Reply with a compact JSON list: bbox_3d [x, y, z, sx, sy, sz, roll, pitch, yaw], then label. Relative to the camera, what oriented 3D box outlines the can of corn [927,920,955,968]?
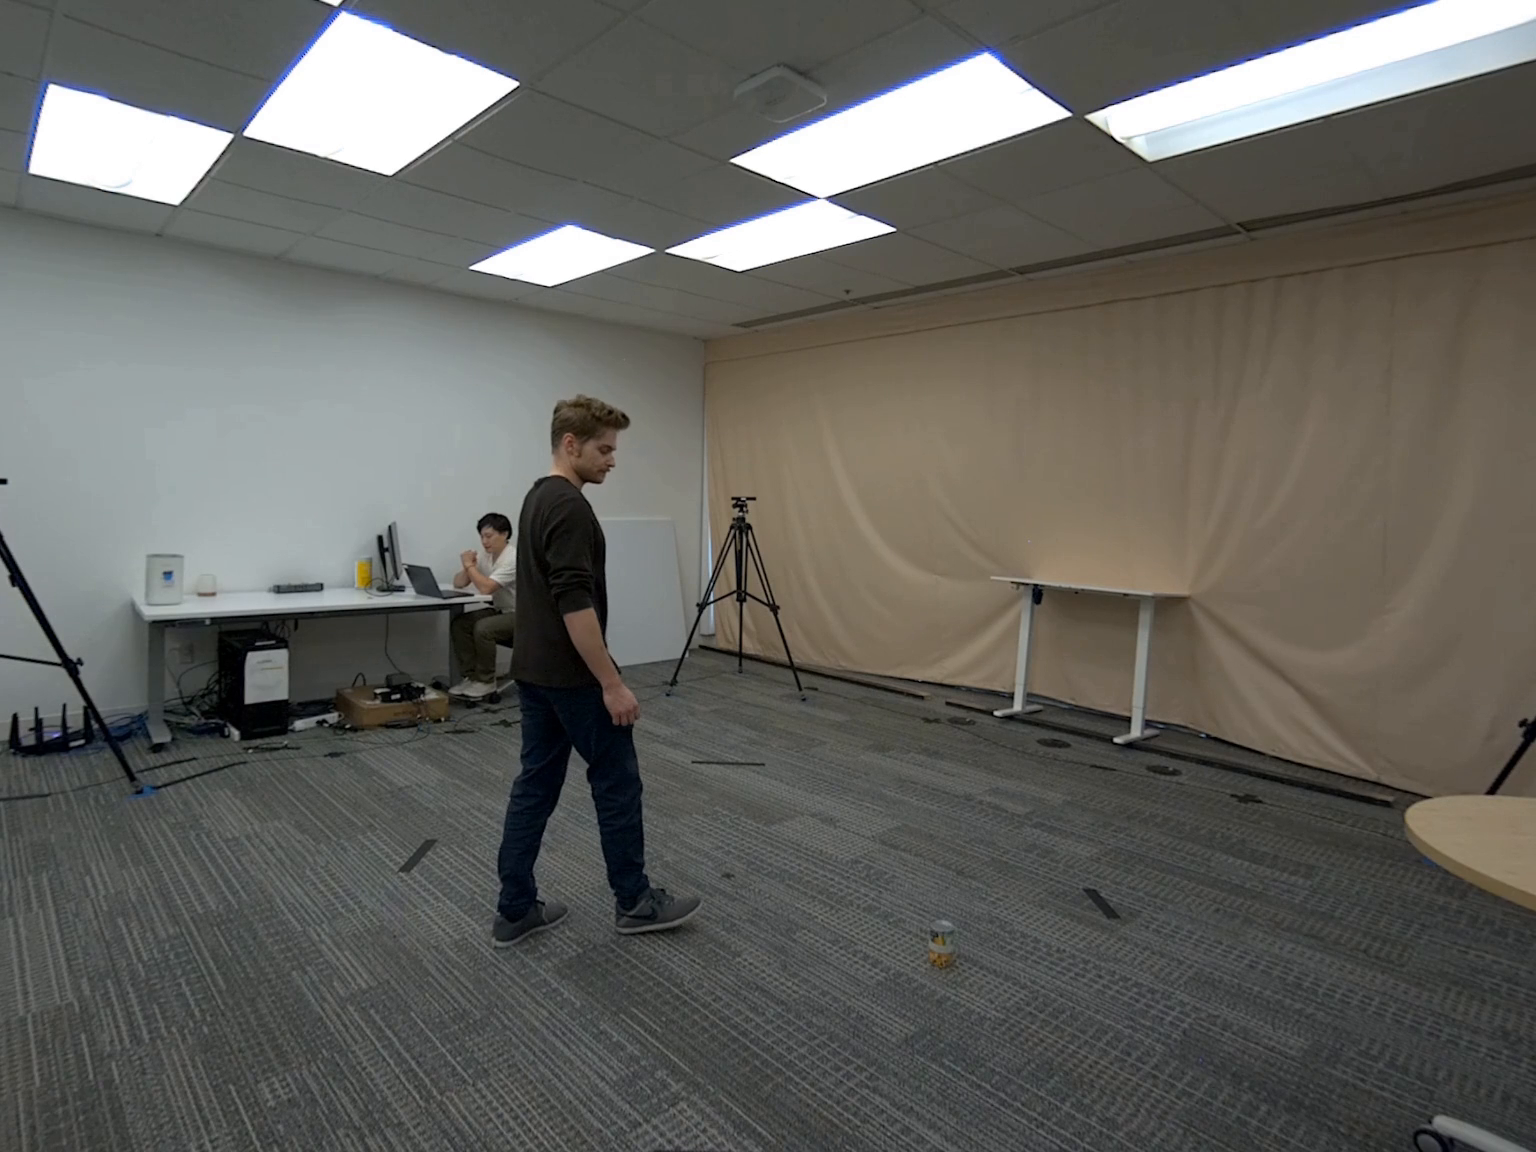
[{"bbox_3d":[0.522,1.120,2.556,0.074,0.111,0.074,4,2,-2],"label":"can of corn"}]
